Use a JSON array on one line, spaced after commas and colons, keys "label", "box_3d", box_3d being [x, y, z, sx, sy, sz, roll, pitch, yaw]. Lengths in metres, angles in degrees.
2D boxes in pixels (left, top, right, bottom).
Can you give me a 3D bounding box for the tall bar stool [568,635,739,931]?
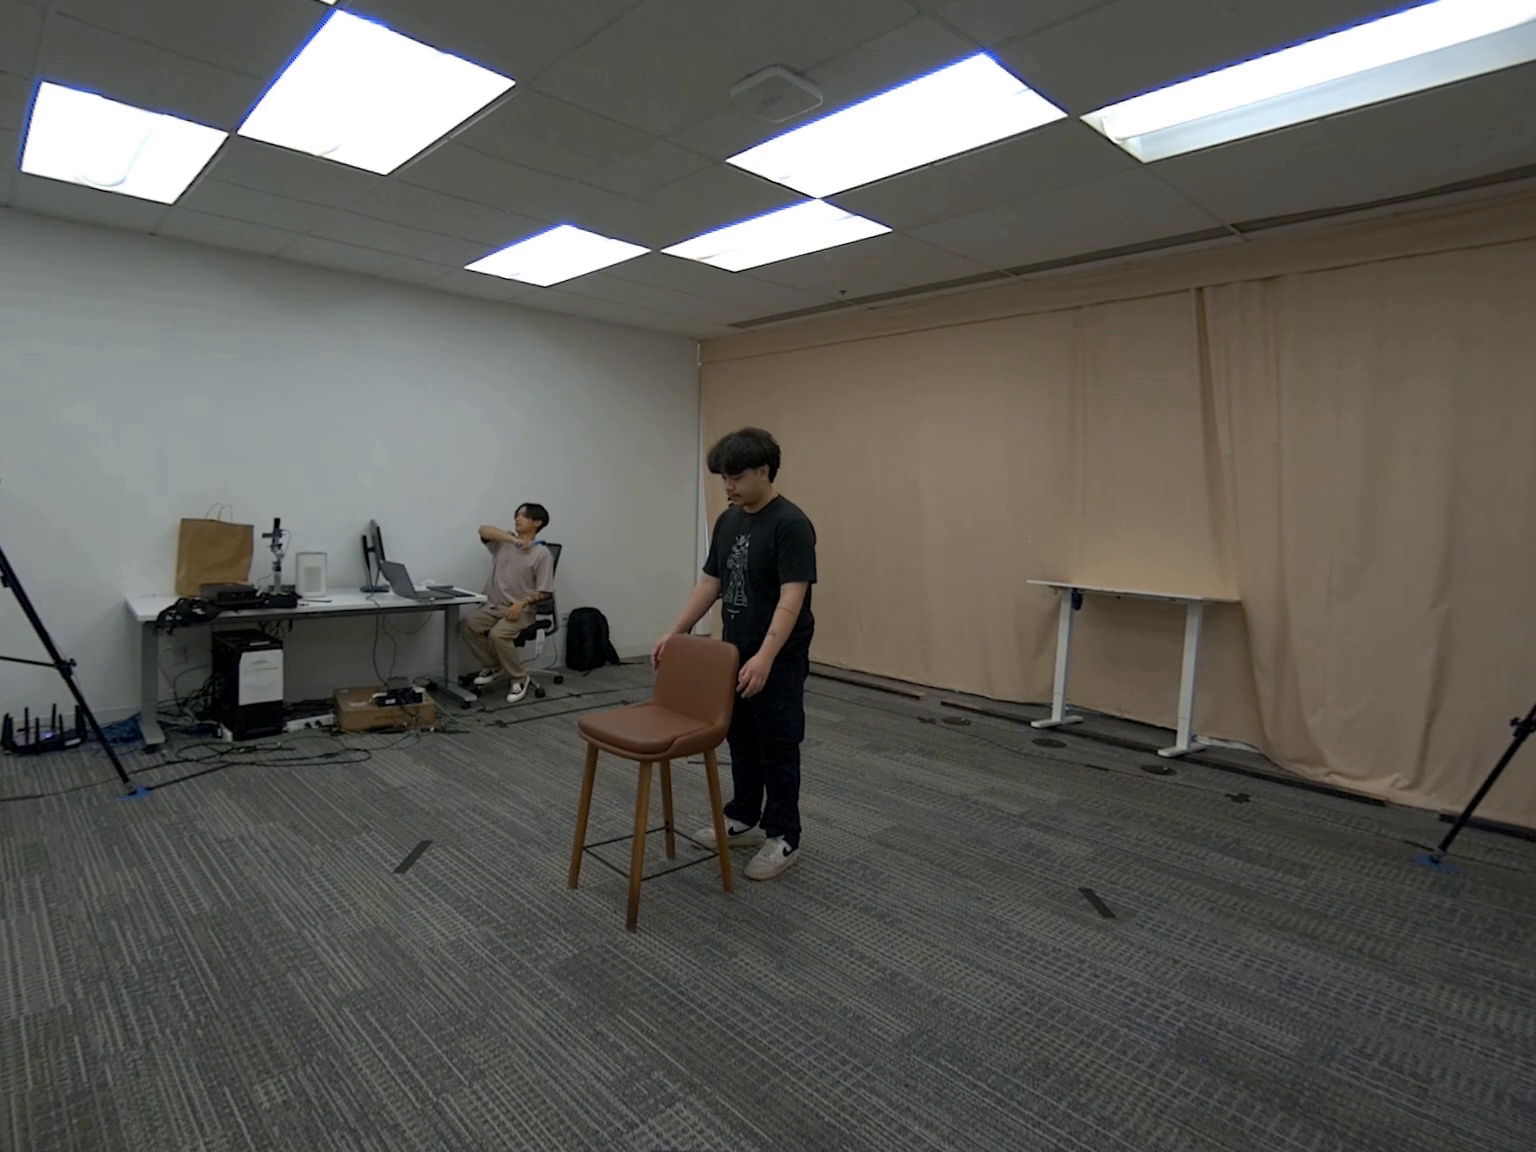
[{"label": "tall bar stool", "box_3d": [-0.399, 0.679, 2.958, 0.456, 0.889, 0.468, 1, 2, -42]}]
